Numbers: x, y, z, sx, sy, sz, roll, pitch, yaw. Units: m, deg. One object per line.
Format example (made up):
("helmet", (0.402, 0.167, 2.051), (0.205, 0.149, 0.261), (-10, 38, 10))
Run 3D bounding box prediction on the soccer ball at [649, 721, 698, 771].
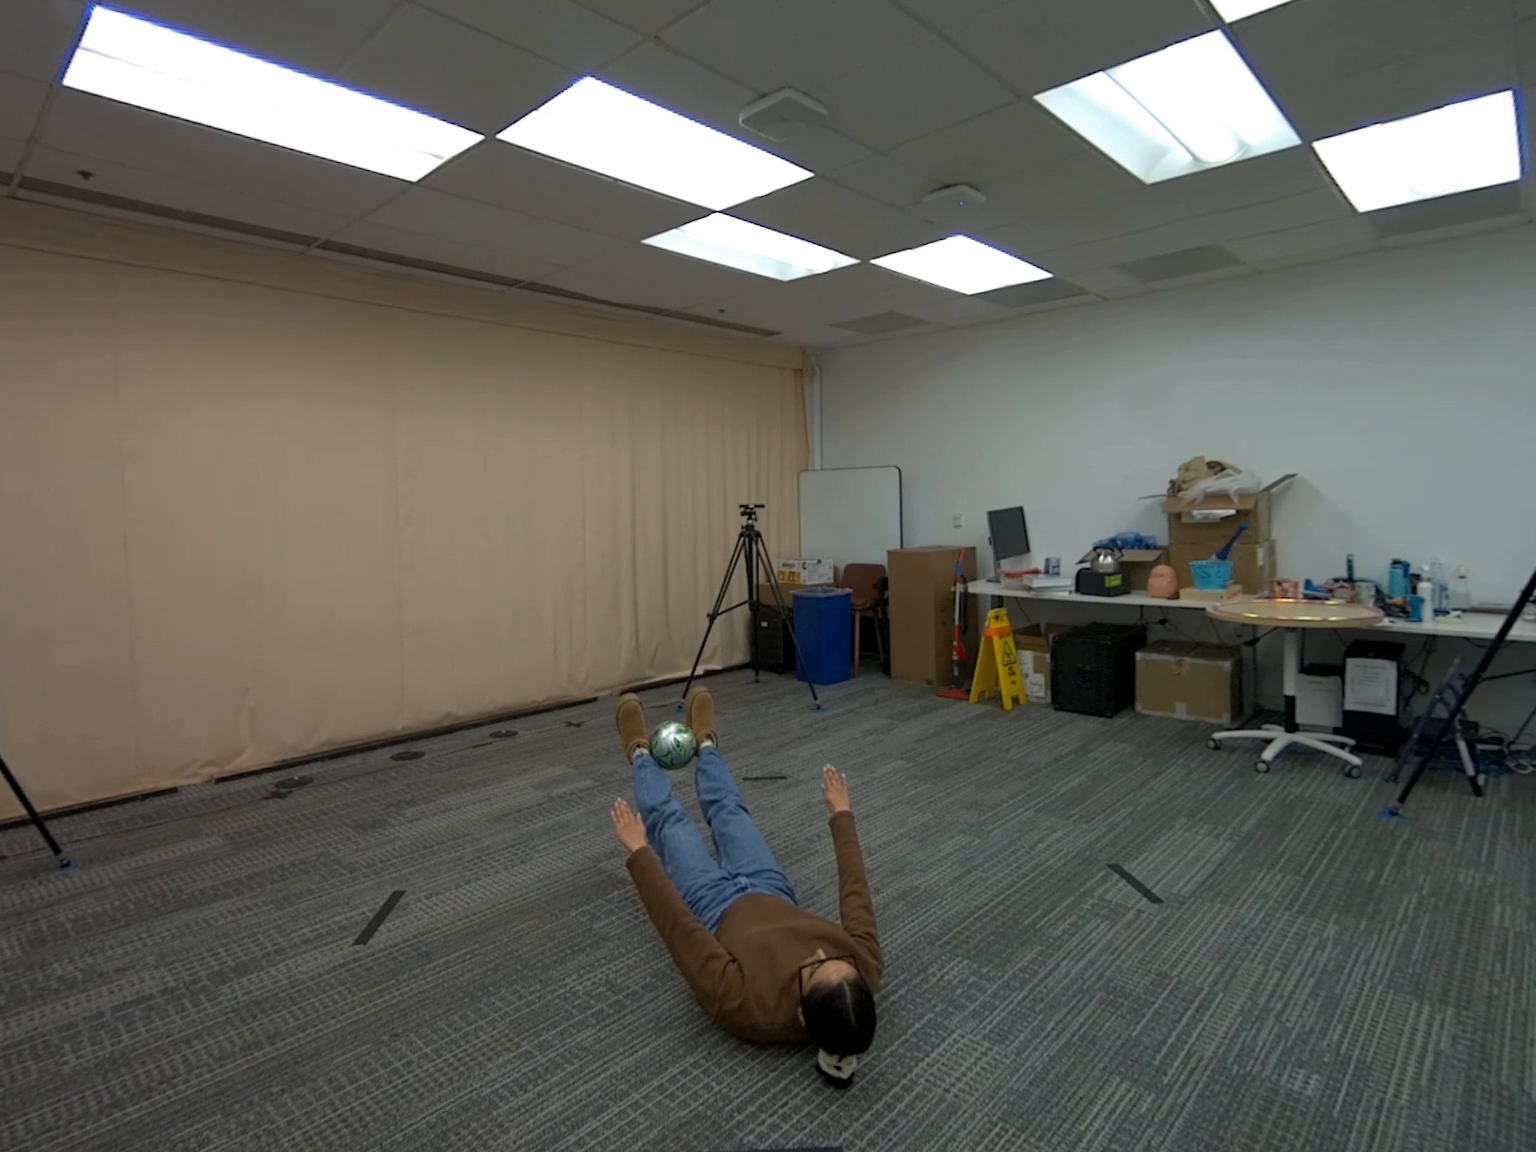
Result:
("soccer ball", (-0.375, 0.661, 3.255), (0.187, 0.187, 0.188), (-1, 4, -2))
